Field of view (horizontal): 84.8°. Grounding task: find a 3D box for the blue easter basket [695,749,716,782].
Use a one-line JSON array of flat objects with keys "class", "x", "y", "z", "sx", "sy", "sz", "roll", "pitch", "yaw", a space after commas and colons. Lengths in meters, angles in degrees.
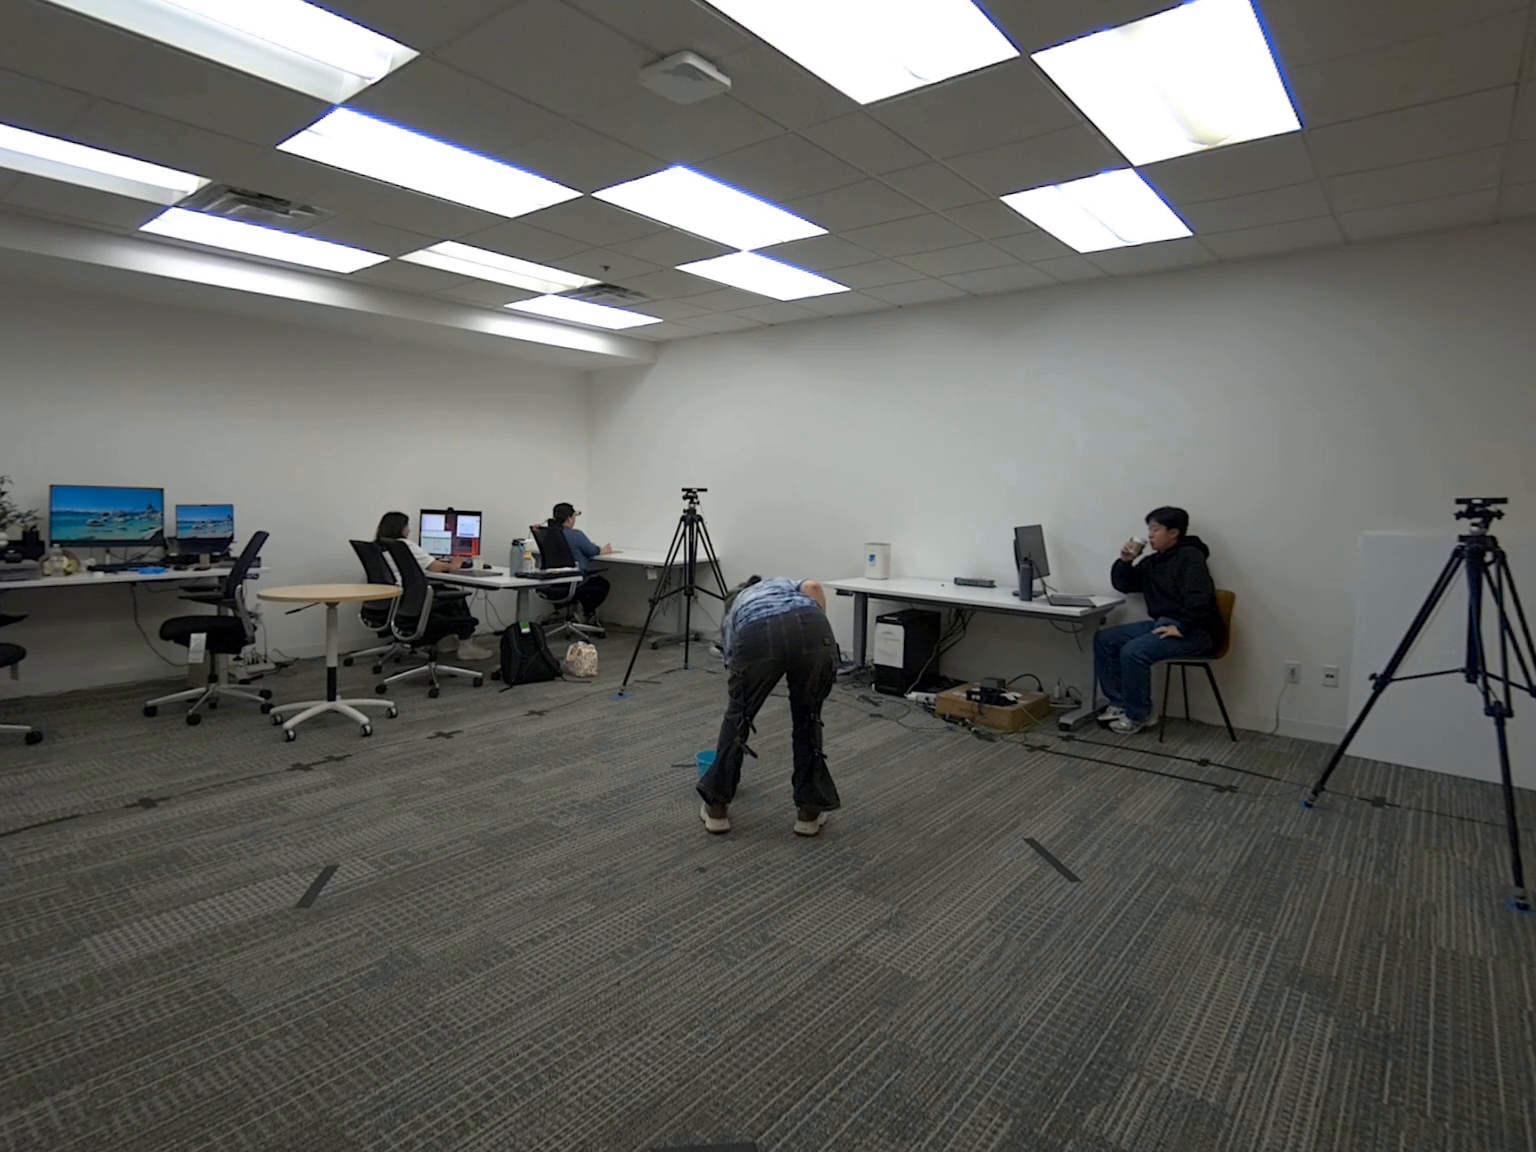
[{"class": "blue easter basket", "x": -0.232, "y": 0.905, "z": 3.940, "sx": 0.243, "sy": 0.155, "sz": 0.245, "roll": 0, "pitch": 5, "yaw": -2}]
